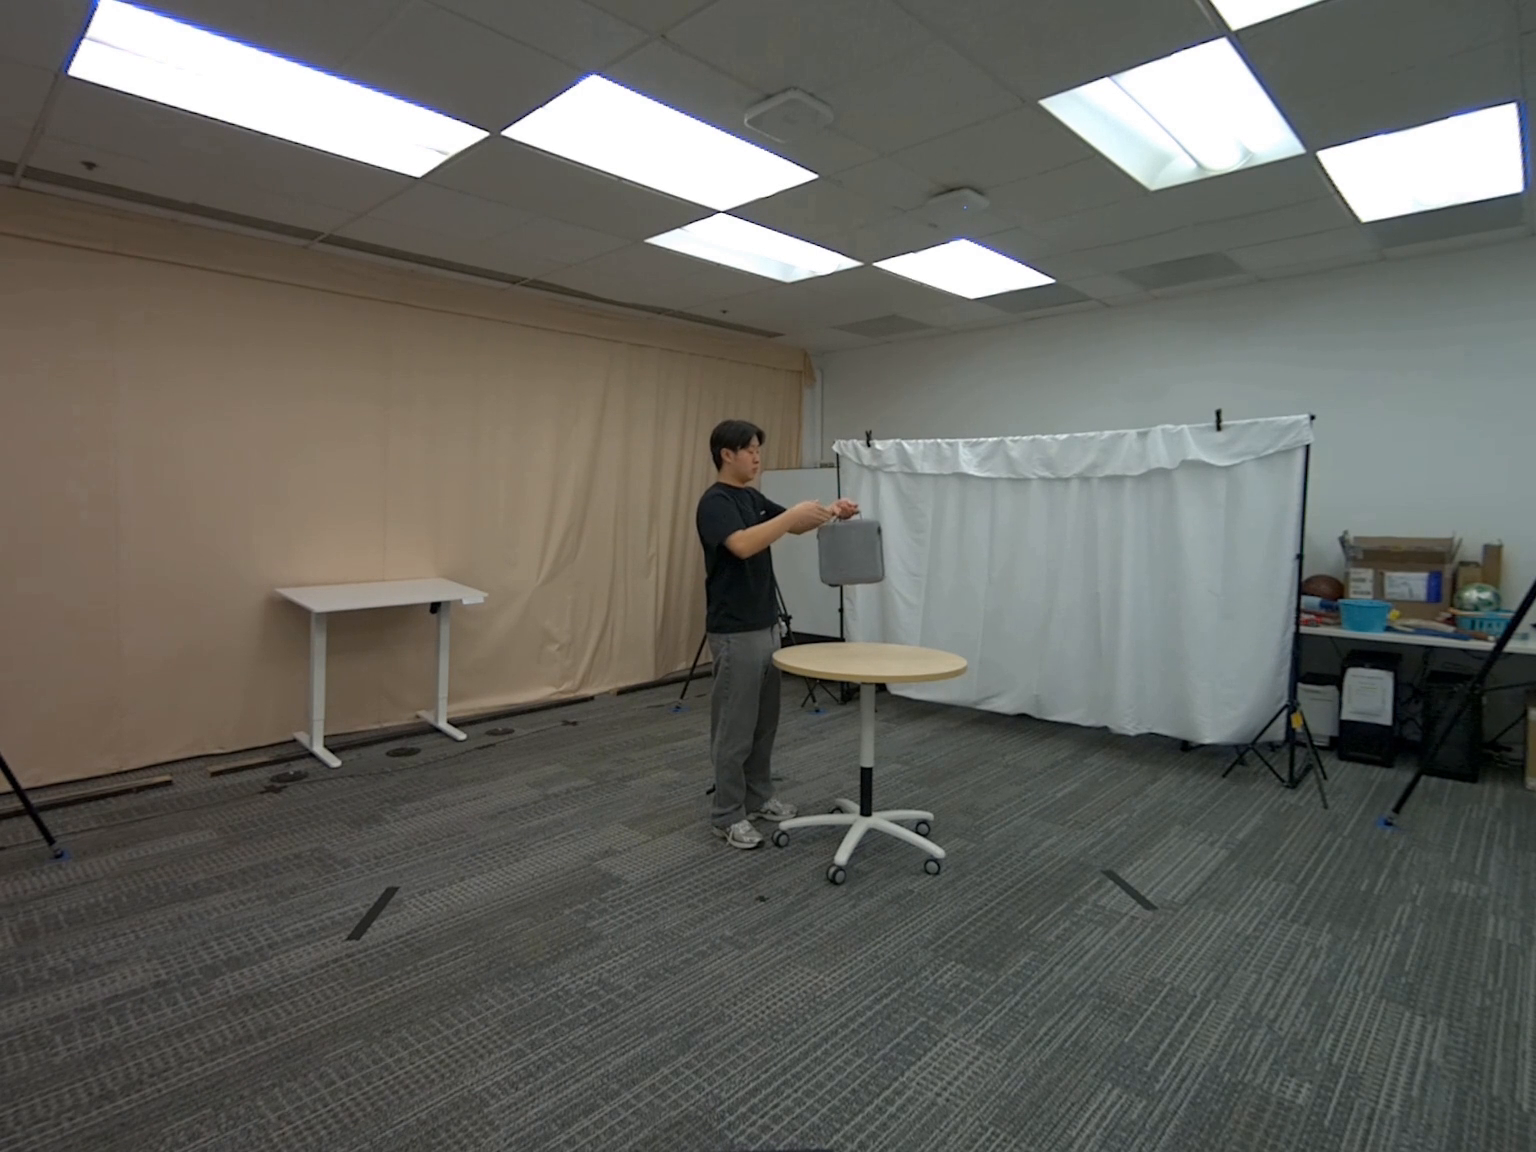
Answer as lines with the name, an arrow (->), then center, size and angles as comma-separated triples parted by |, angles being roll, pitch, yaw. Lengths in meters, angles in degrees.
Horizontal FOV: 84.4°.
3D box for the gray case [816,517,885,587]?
gray case -> 0.343, -0.107, 3.400 | 0.269, 0.287, 0.100 | -5, -1, 25
